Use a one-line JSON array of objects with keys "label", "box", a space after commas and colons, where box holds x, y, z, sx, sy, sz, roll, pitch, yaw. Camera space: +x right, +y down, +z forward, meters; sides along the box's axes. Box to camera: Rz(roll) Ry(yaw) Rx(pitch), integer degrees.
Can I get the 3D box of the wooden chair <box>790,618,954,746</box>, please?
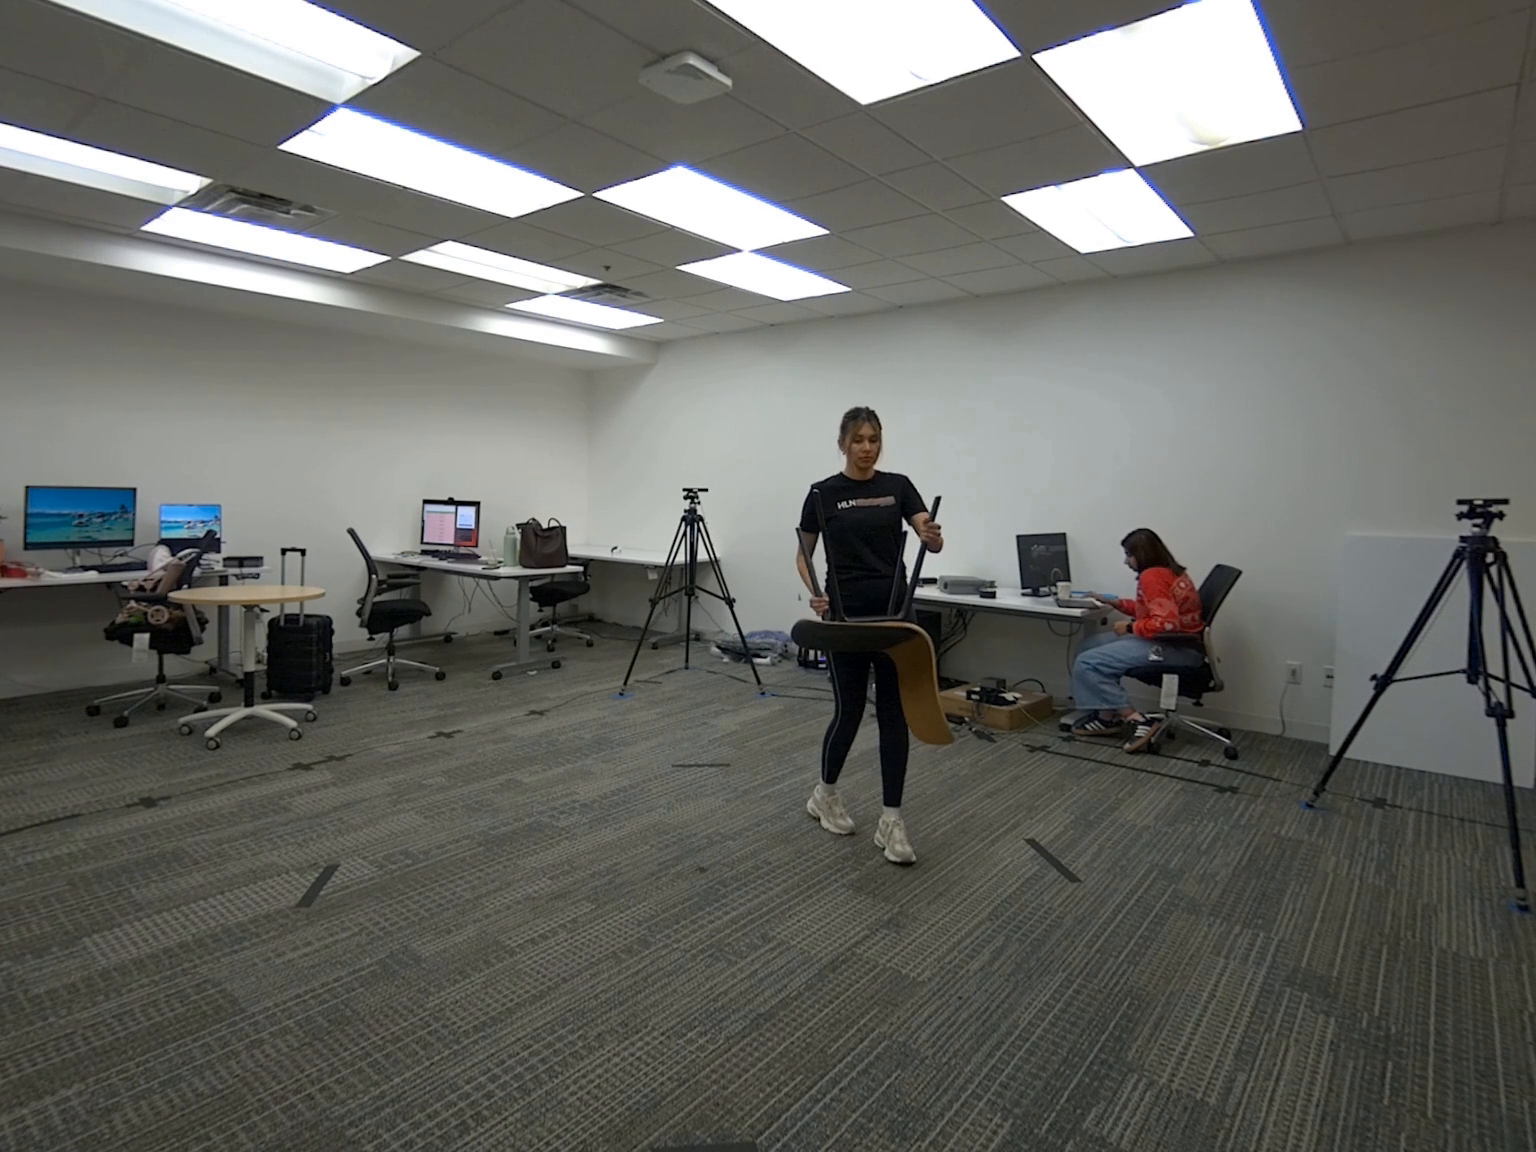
[{"label": "wooden chair", "box": [0.350, 0.175, 3.095, 0.520, 0.891, 0.473, -1, -16, -6]}]
